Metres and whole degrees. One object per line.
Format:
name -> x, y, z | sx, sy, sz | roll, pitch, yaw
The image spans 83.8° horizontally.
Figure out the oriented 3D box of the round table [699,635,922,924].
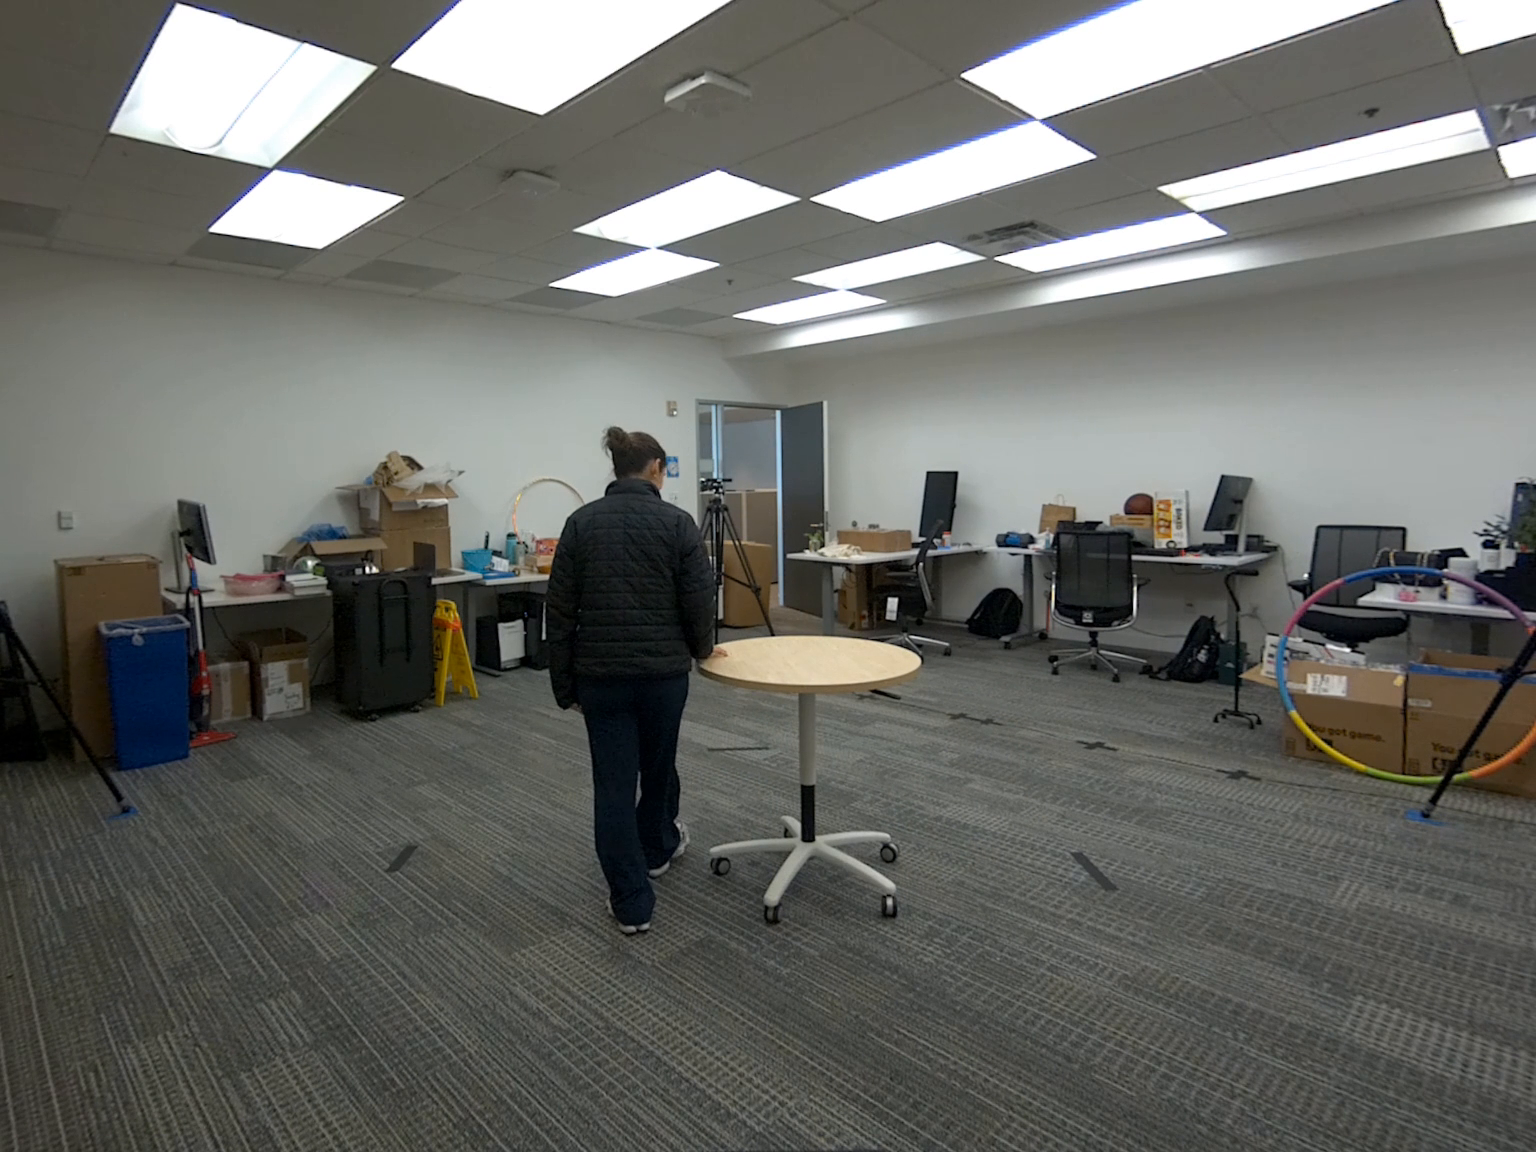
round table -> 0.127, 0.664, 2.956 | 0.784, 0.783, 0.789 | -1, 5, -2
